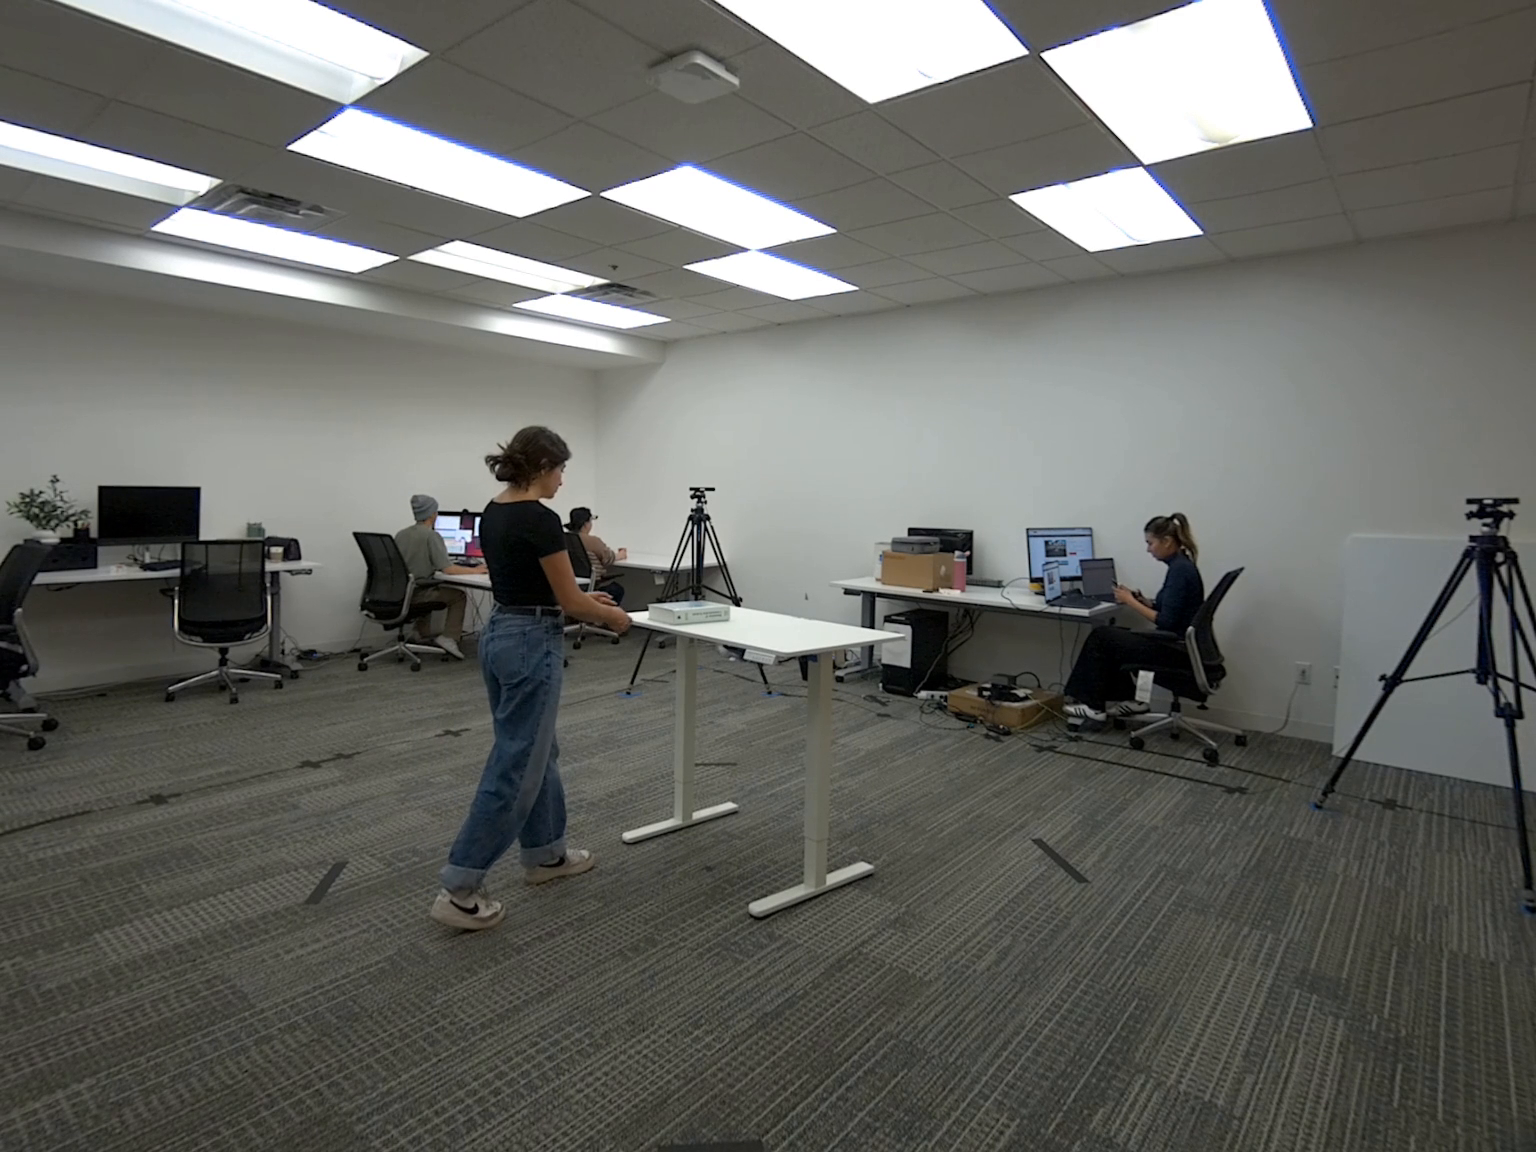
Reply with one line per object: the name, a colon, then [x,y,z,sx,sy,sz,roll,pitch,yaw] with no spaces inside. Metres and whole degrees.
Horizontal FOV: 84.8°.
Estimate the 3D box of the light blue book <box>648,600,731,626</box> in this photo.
light blue book: [-0.315,0.138,3.278,0.253,0.059,0.198,-4,6,-39]
